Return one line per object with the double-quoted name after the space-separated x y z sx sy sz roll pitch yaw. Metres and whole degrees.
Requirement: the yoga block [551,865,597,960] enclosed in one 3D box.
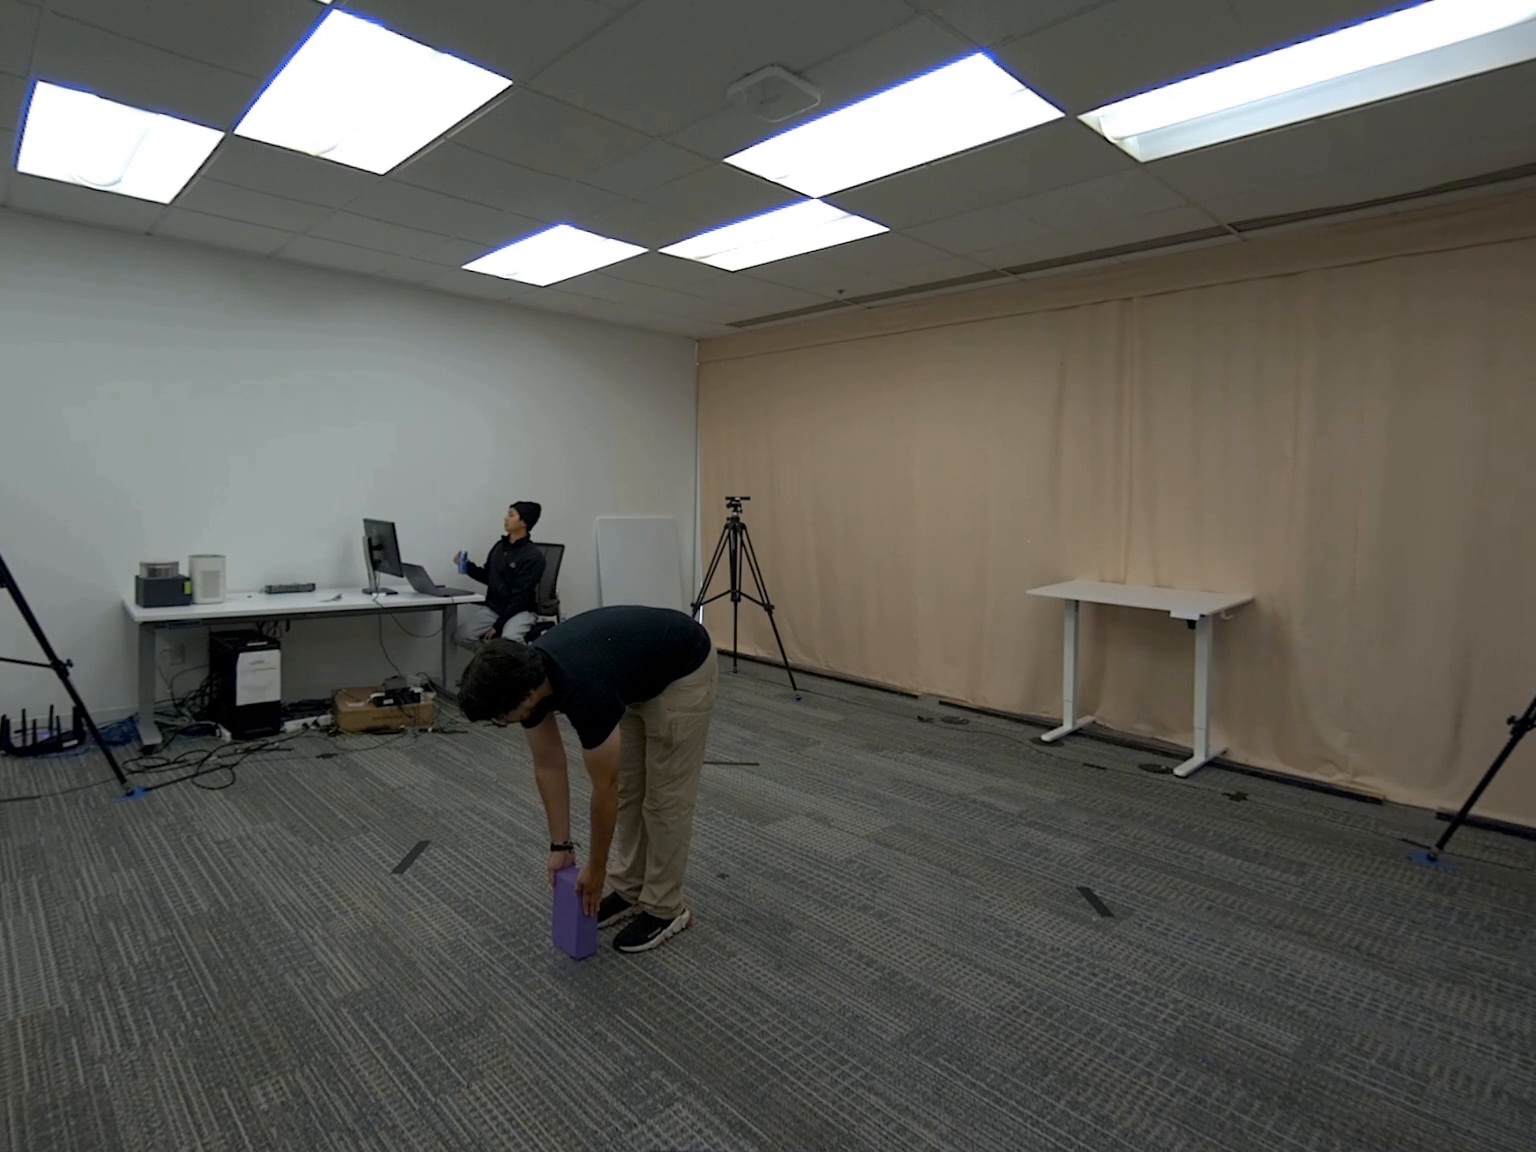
-0.596 1.034 2.574 0.075 0.228 0.153 -3 6 -43 "yoga block"
